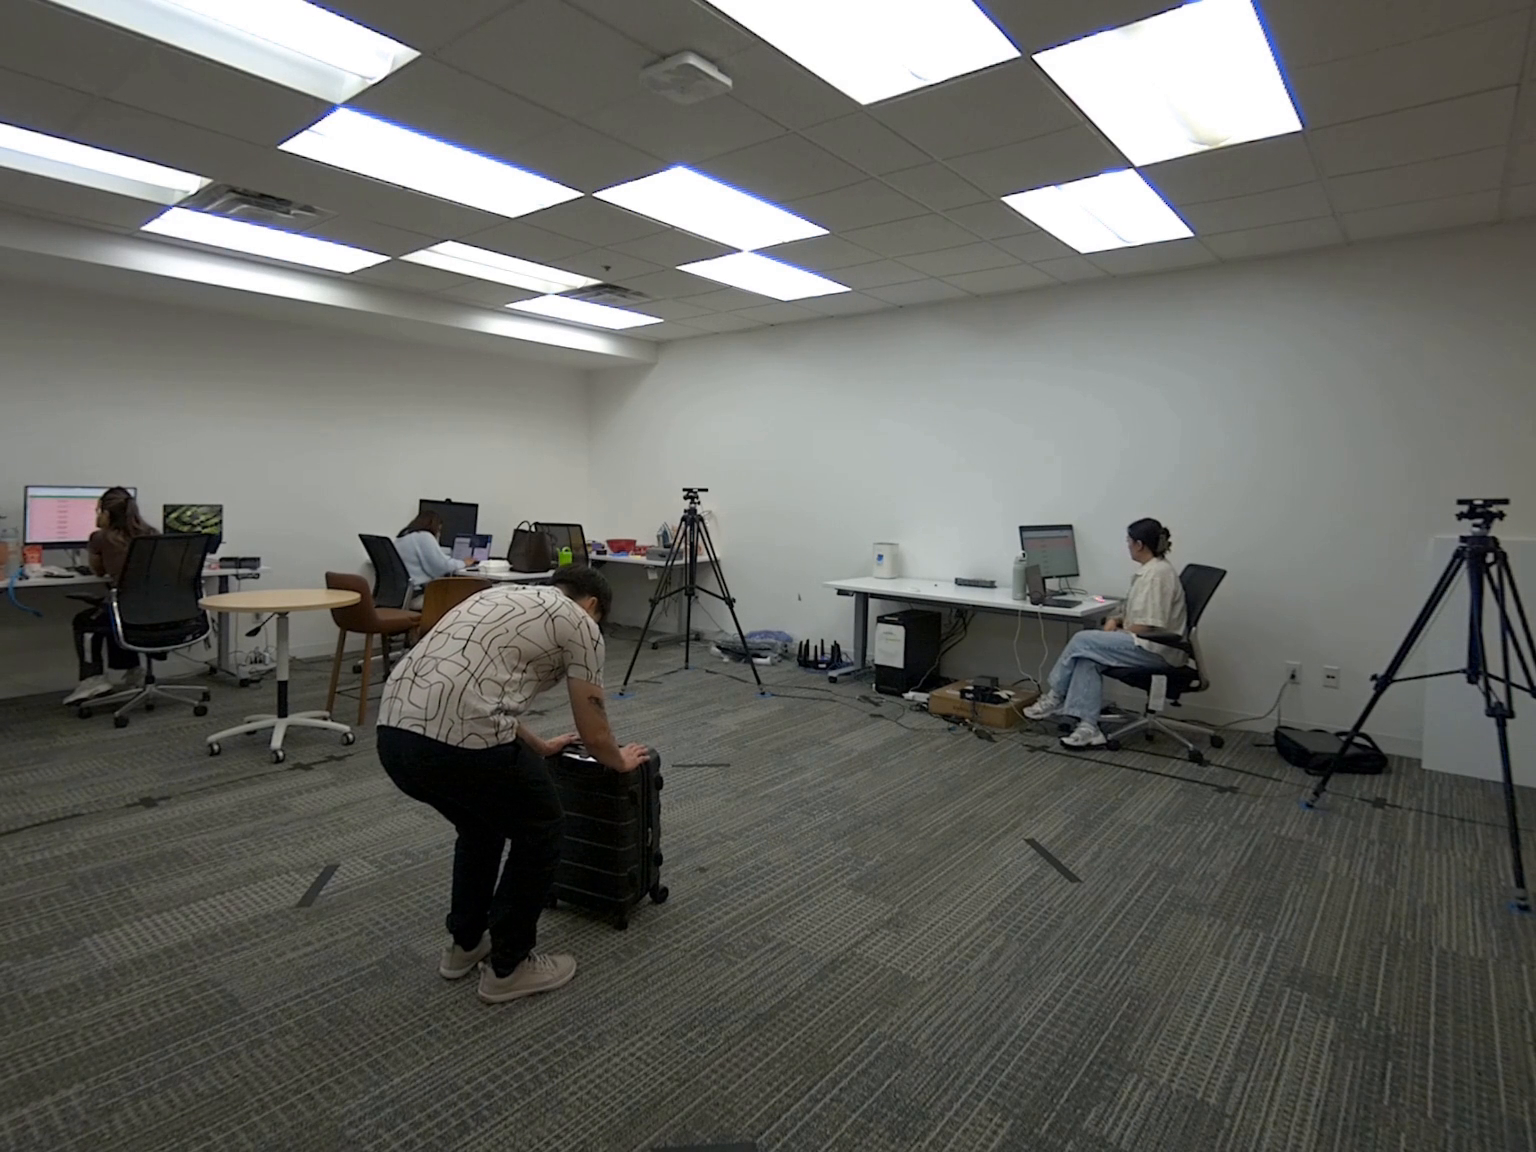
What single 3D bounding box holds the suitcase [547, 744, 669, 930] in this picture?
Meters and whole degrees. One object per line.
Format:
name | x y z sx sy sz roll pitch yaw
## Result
suitcase | -0.559 0.817 2.808 0.385 0.547 0.243 3 4 25
